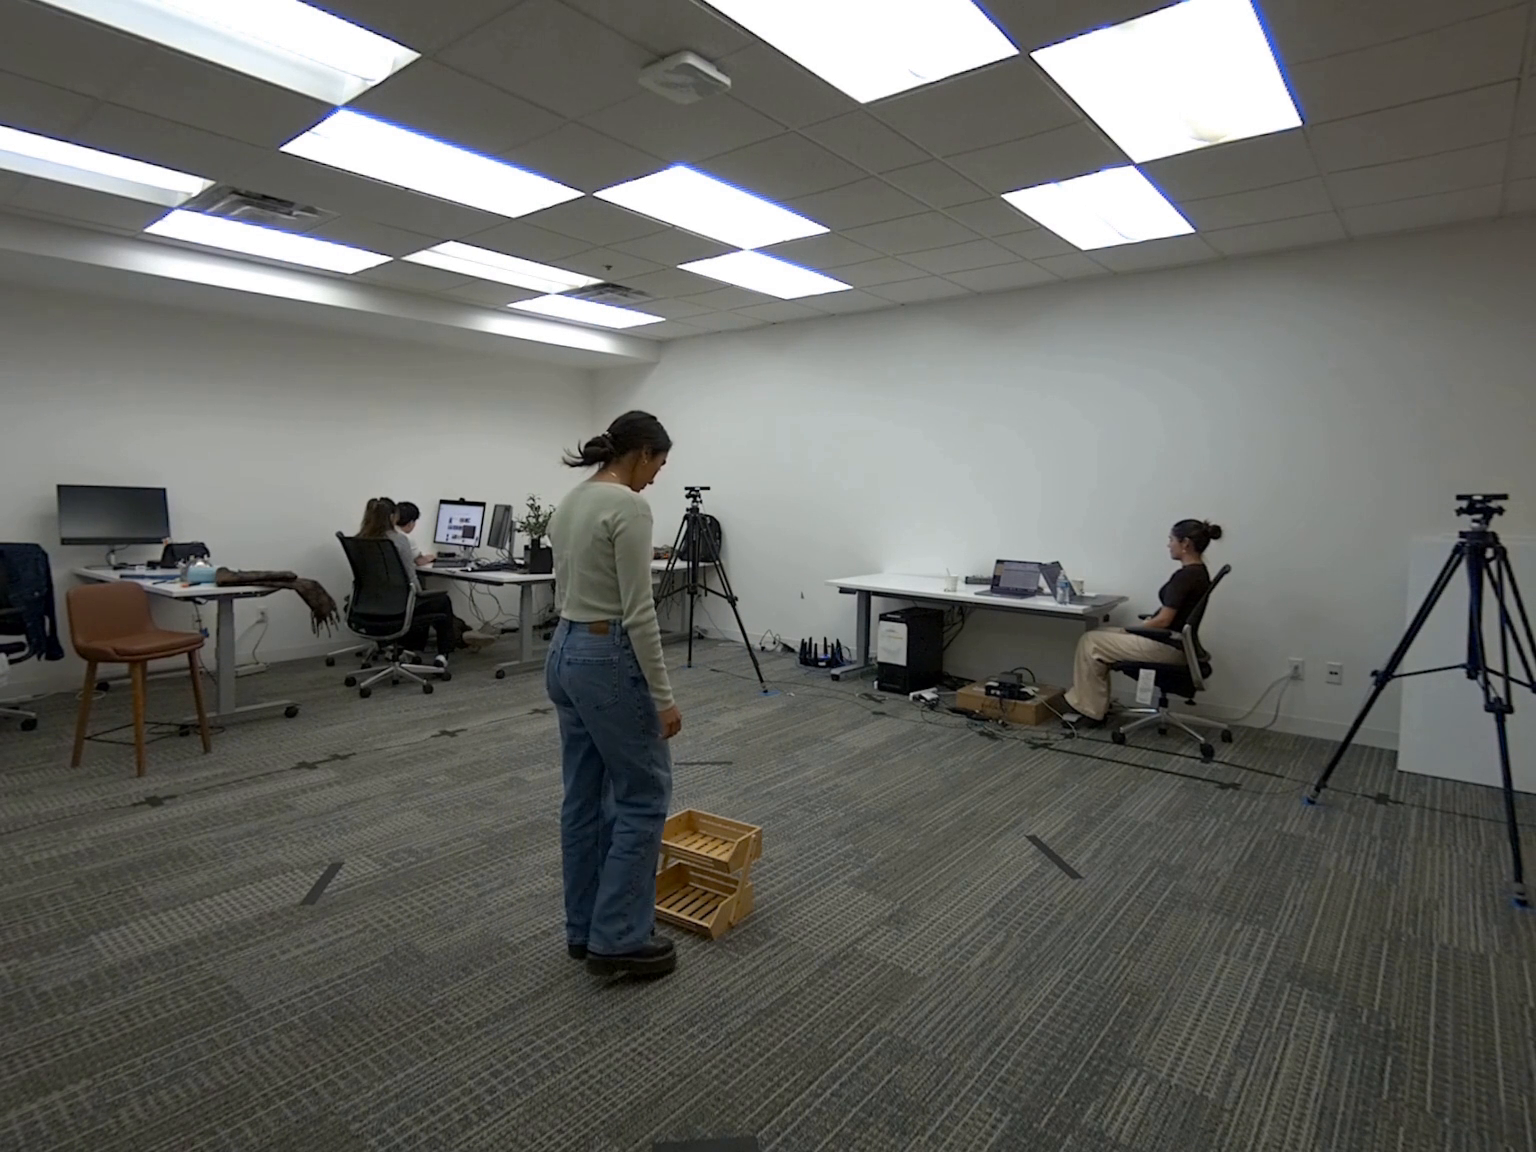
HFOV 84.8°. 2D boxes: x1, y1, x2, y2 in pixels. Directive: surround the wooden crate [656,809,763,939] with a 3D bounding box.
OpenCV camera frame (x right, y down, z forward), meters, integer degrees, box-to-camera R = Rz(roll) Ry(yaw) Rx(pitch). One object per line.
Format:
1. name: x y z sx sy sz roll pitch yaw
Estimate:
1. wooden crate: -0.235 0.963 2.793 0.334 0.273 0.294 3 4 31
